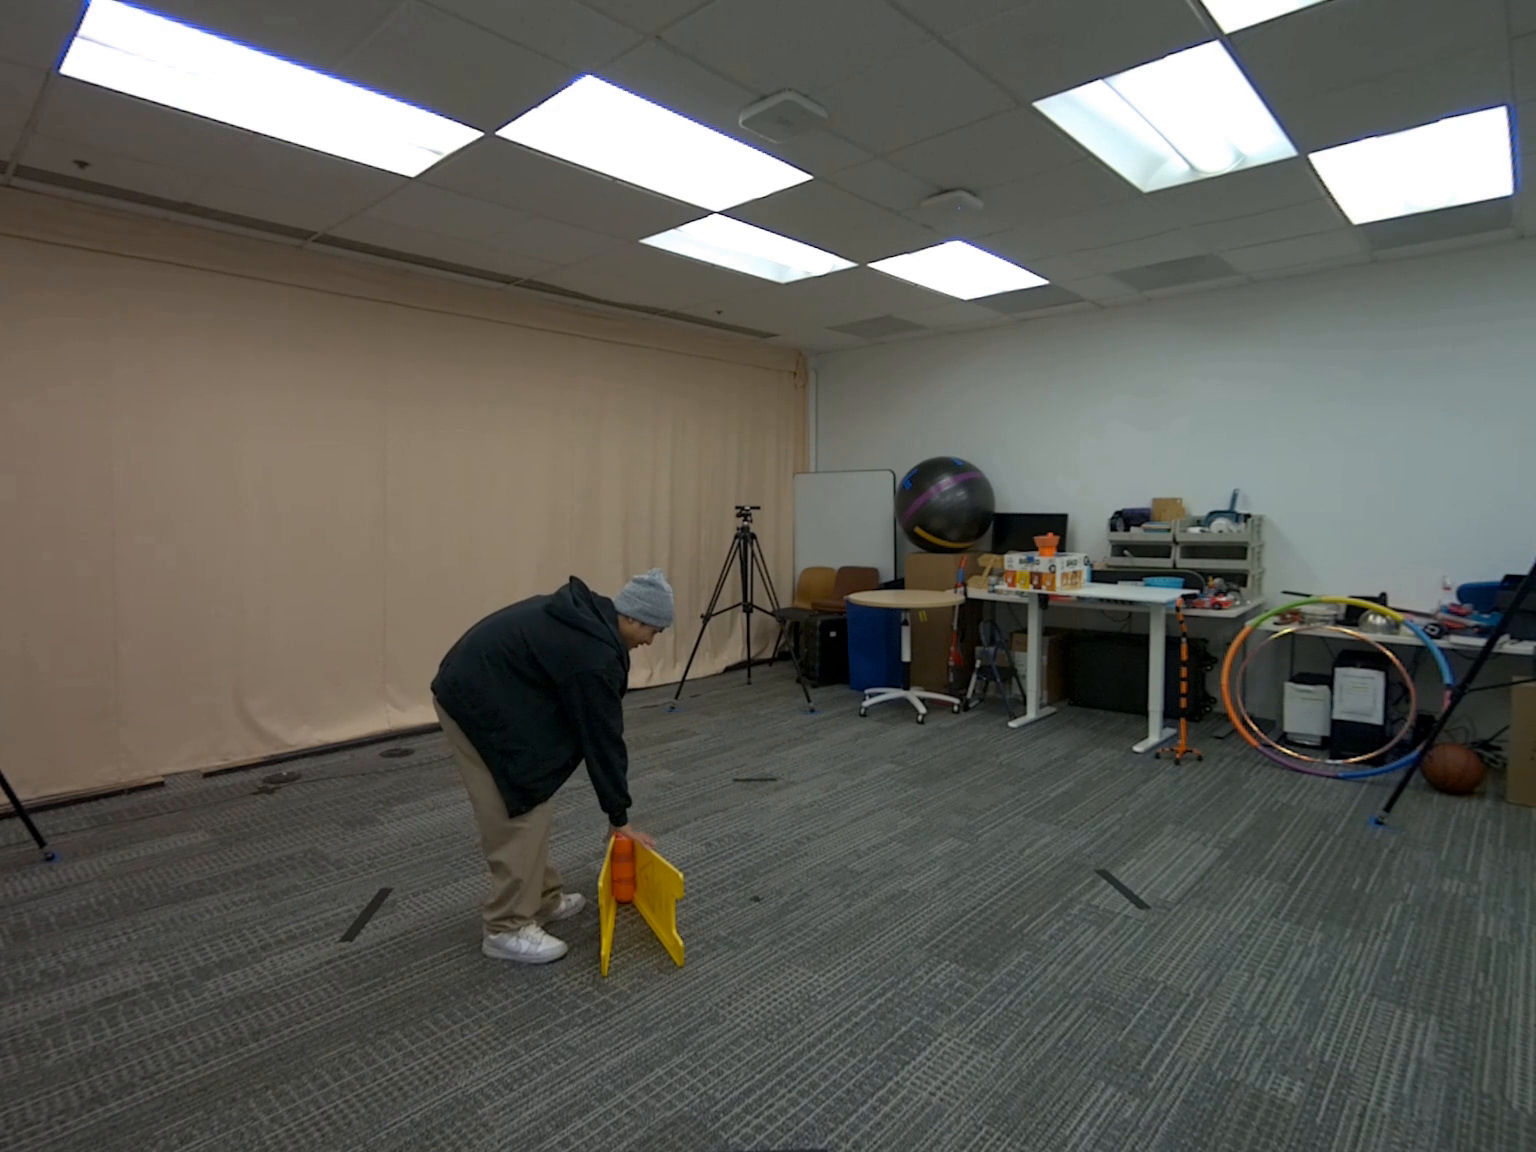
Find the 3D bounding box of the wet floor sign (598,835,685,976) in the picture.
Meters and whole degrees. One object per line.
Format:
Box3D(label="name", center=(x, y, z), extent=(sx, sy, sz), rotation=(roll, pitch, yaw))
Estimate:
Box3D(label="wet floor sign", center=(-0.475, 1.036, 2.822), extent=(0.285, 0.282, 0.656), rotation=(-1, 1, -16))
